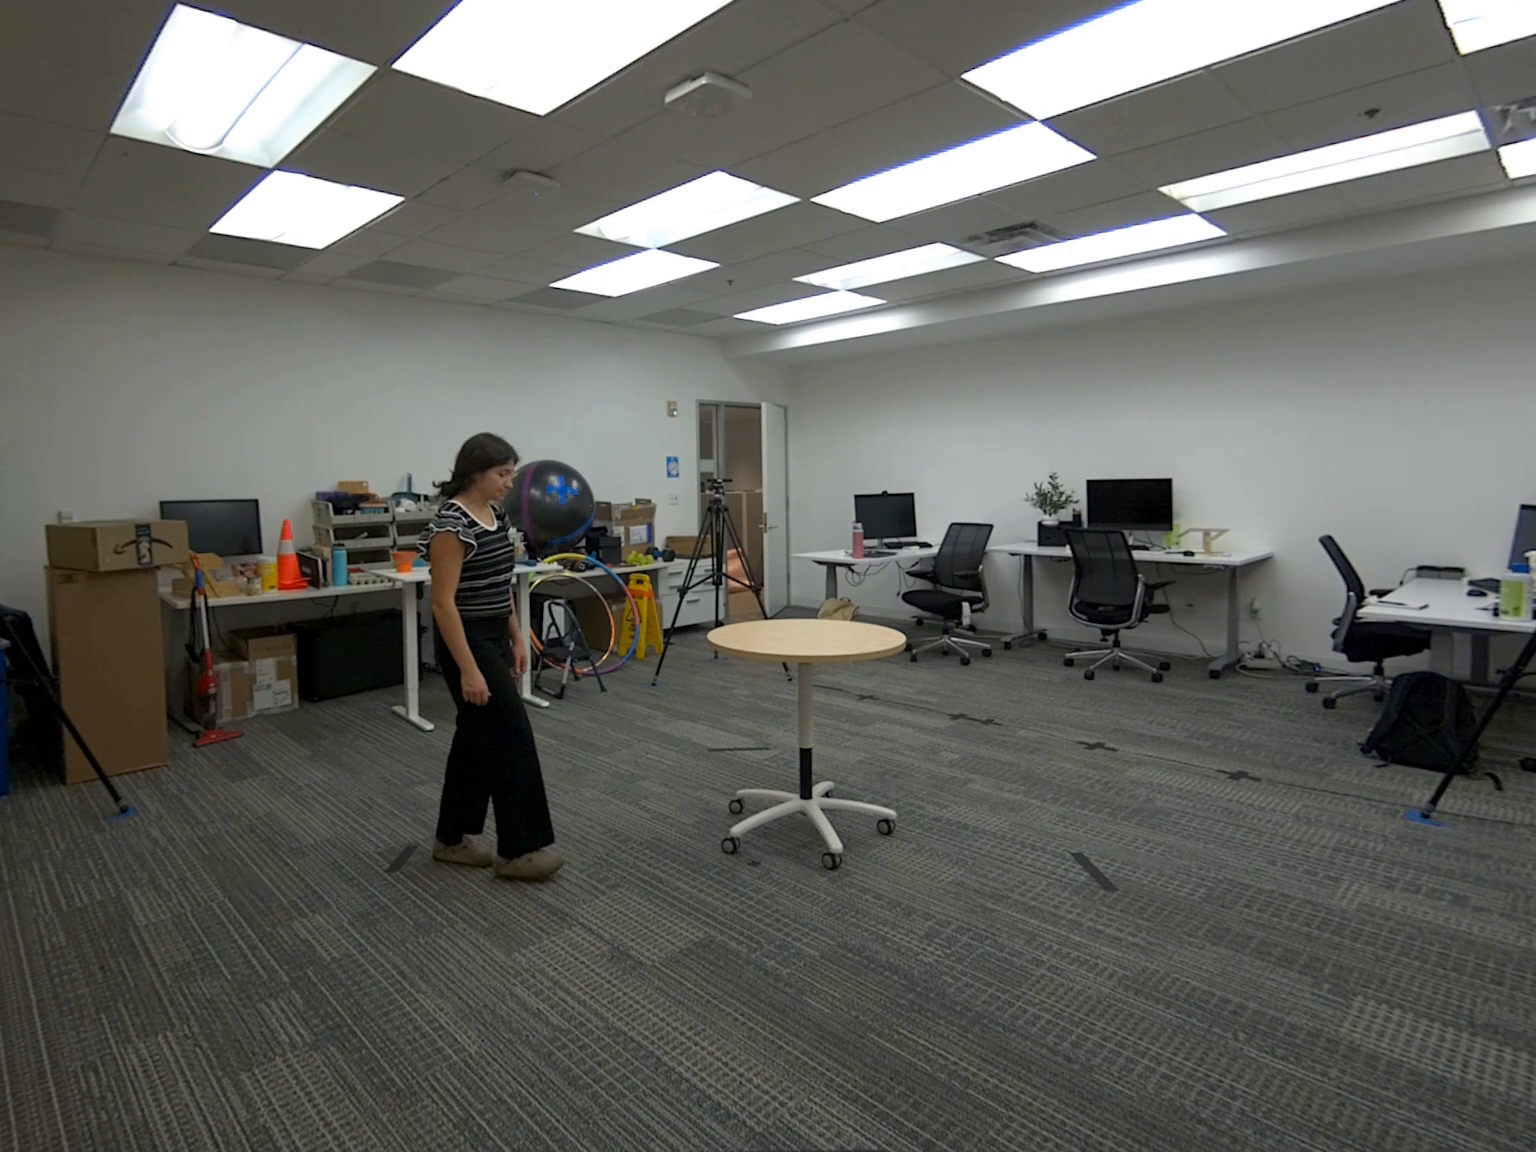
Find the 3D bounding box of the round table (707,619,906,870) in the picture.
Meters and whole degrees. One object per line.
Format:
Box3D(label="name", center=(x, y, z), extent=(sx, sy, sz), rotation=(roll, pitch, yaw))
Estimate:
Box3D(label="round table", center=(0.139, 0.620, 3.334), extent=(0.784, 0.784, 0.789), rotation=(-1, 4, -2))
